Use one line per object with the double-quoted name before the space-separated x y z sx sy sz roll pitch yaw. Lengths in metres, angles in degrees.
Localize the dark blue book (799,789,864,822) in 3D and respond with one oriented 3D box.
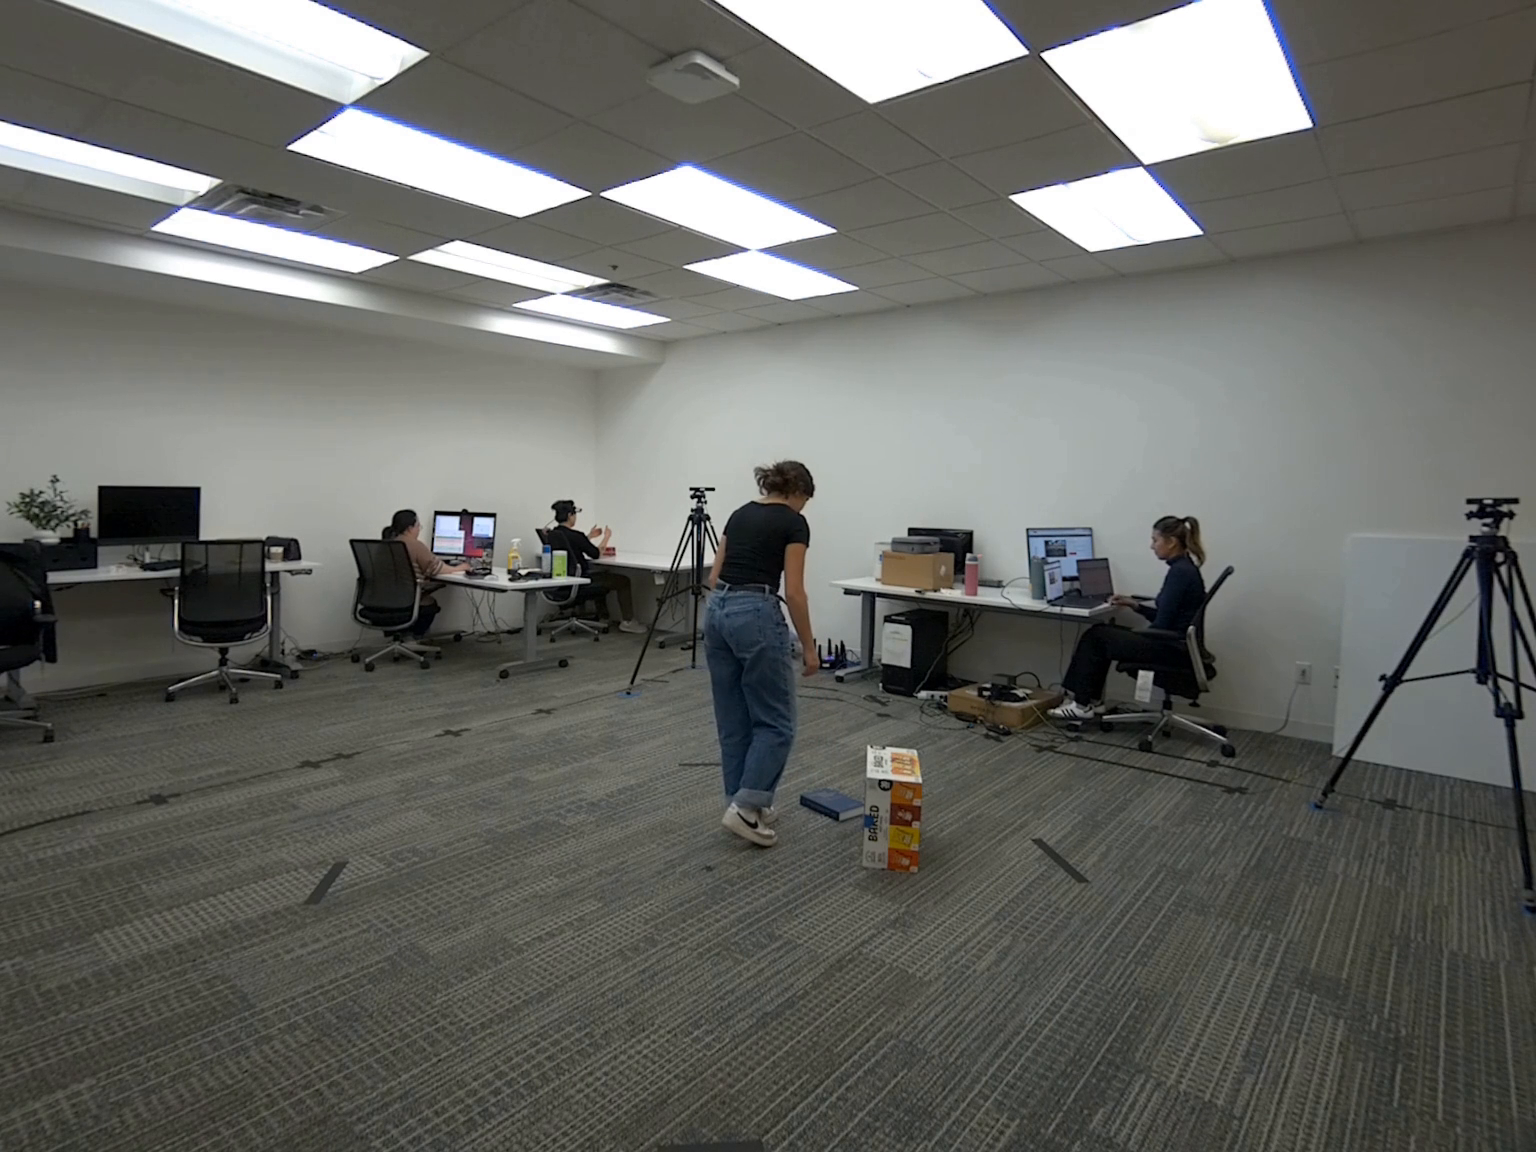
"dark blue book" 0.275 0.997 3.723 0.158 0.045 0.253 -3 8 -39
